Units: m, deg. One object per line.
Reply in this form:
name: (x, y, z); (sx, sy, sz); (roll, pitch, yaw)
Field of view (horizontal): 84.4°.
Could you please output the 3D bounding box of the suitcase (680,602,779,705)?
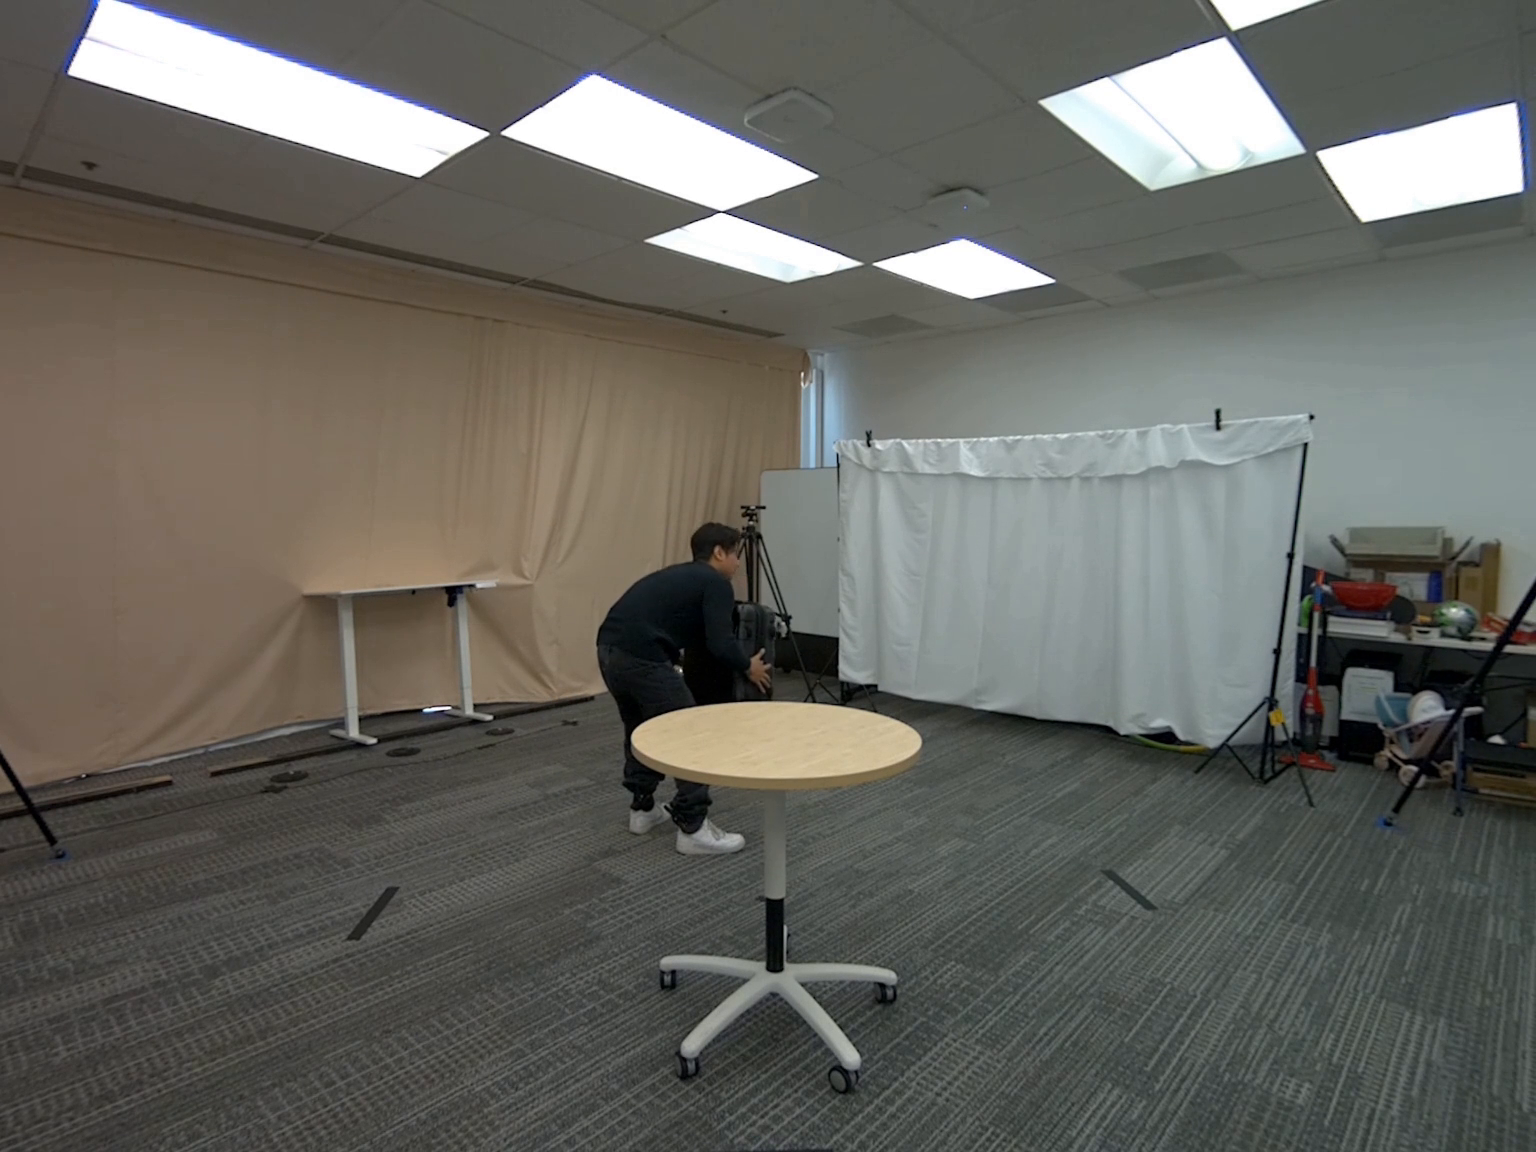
suitcase: (-0.168, 0.374, 3.682); (0.387, 0.551, 0.240); (-1, -5, 38)
